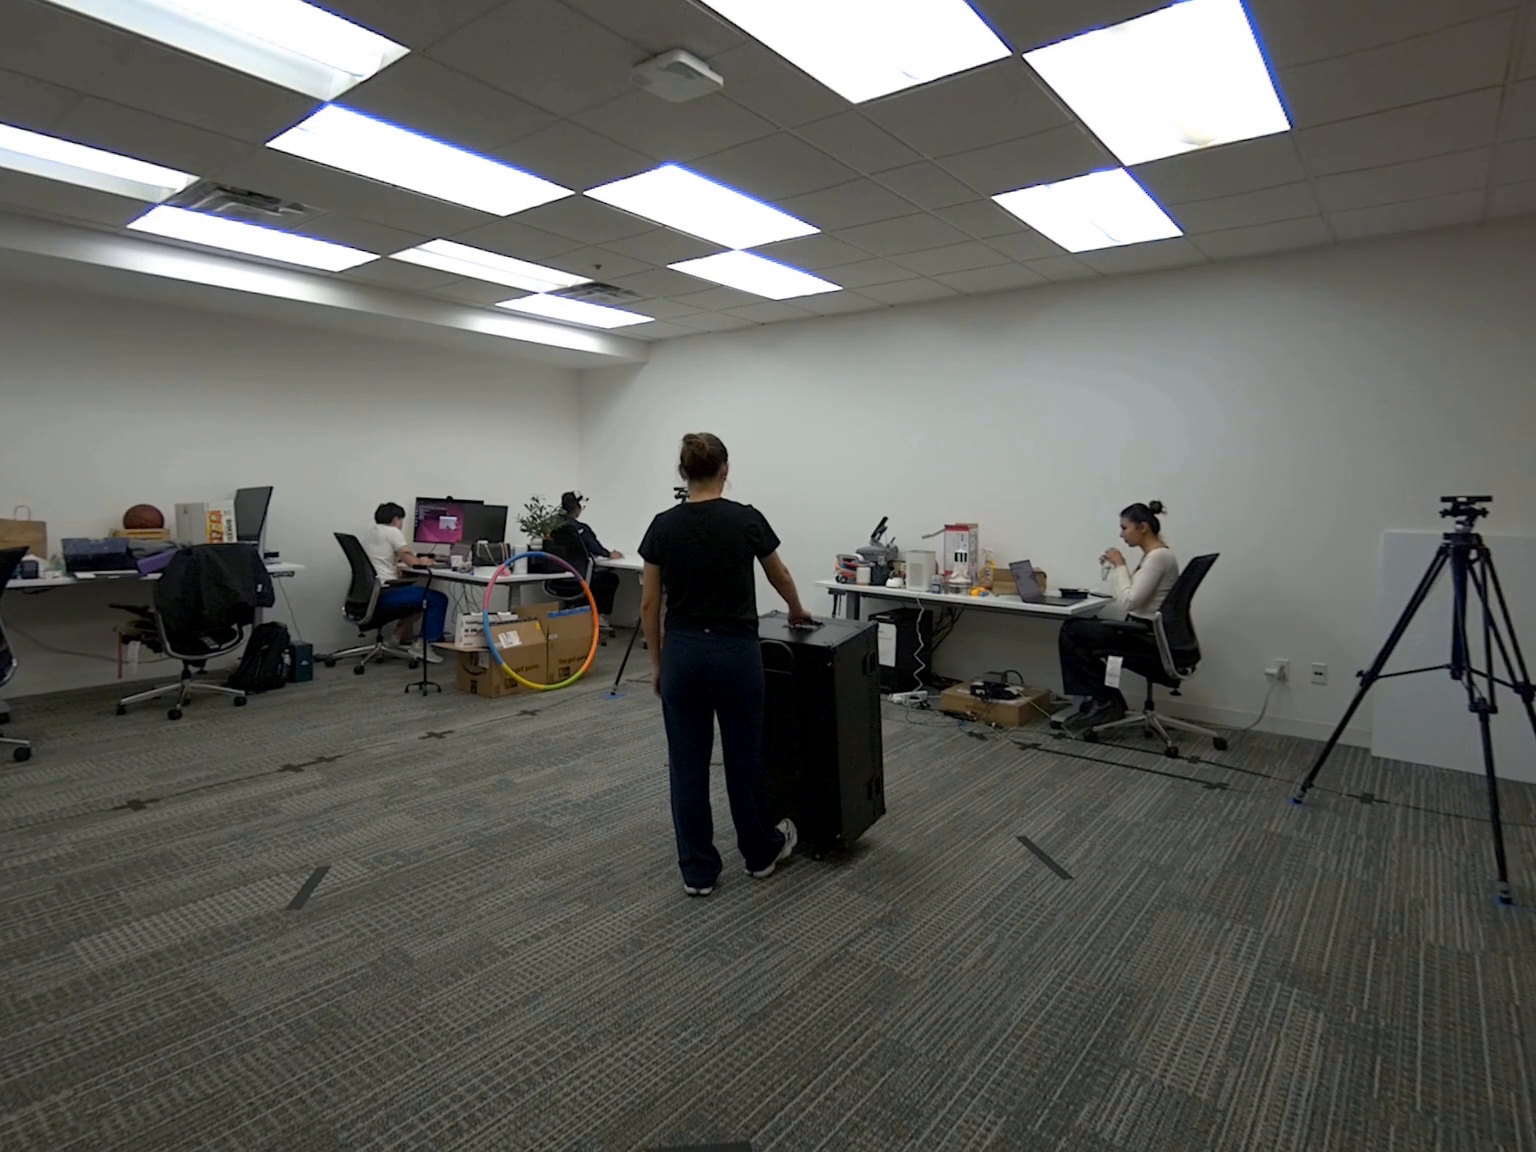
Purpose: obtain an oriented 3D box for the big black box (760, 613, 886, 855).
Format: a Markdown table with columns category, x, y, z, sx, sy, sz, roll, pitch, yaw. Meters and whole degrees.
| category | x | y | z | sx | sy | sz | roll | pitch | yaw |
| --- | --- | --- | --- | --- | --- | --- | --- | --- | --- |
| big black box | 0.168 | 0.609 | 3.325 | 0.538 | 0.852 | 0.388 | 4 | 13 | 36 |
